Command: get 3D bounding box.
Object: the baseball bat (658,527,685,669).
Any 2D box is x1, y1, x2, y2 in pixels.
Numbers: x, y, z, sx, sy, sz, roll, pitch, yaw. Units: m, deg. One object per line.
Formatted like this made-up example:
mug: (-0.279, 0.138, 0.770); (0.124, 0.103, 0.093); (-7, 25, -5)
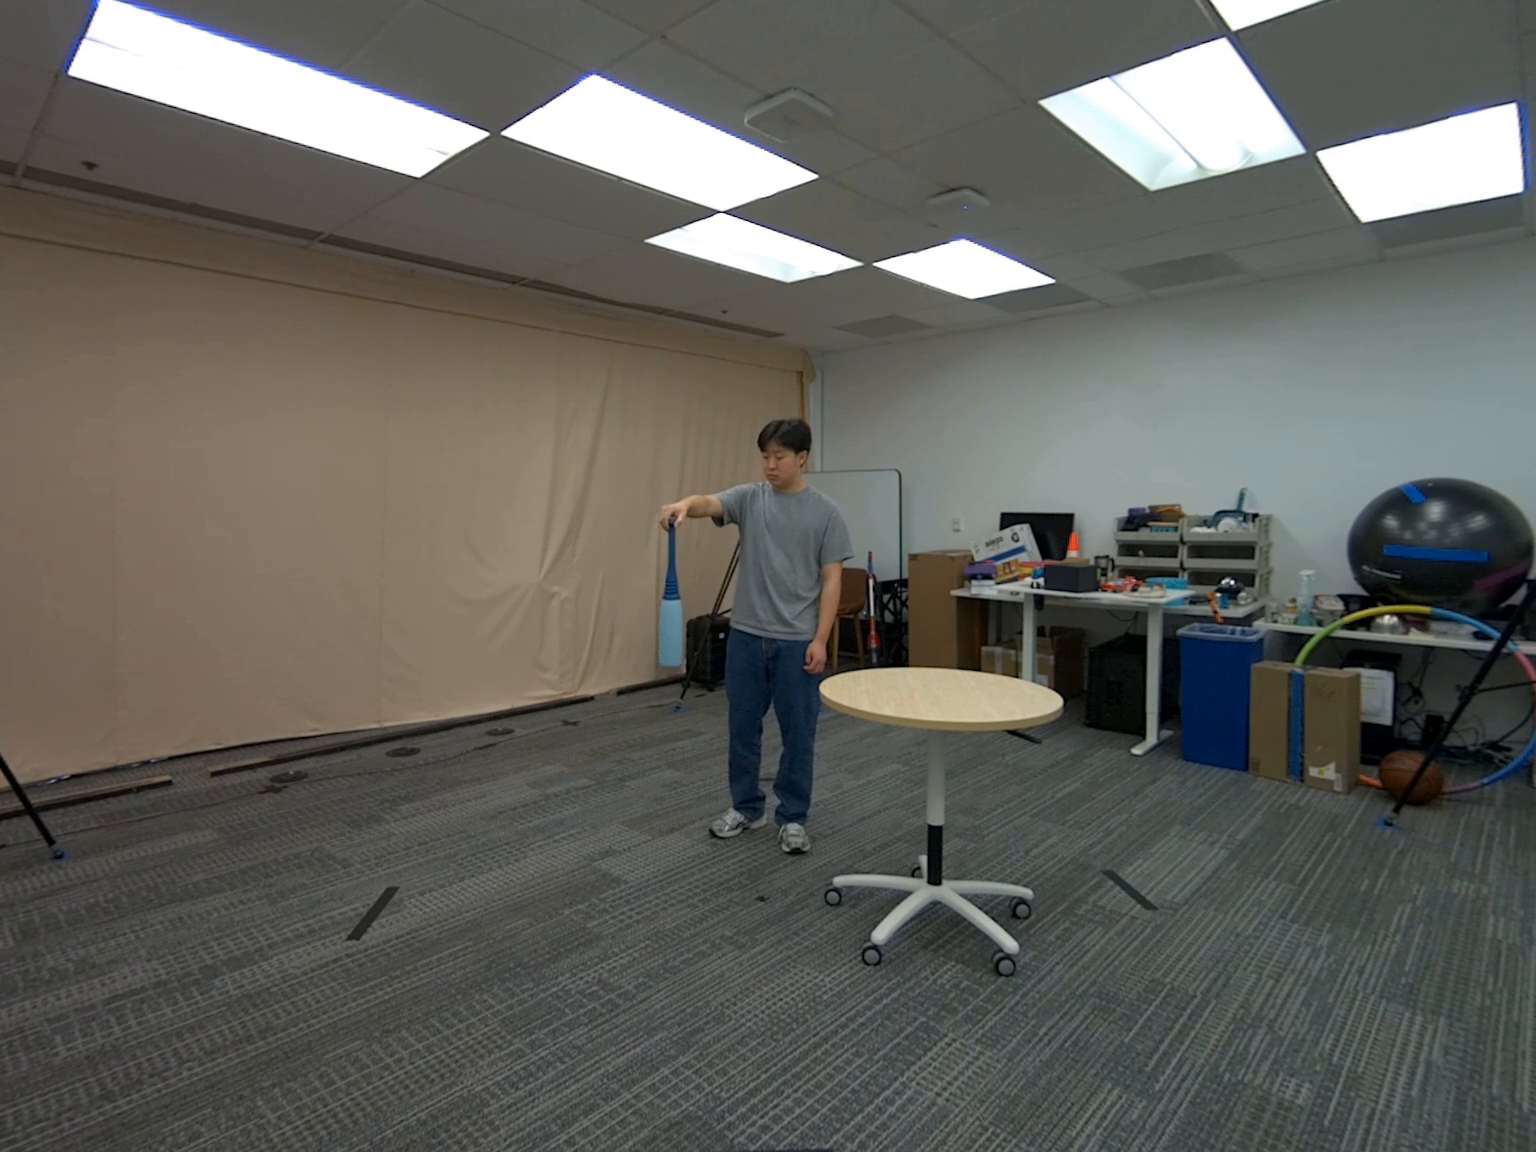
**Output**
baseball bat: (-0.351, 0.069, 3.063); (0.089, 0.541, 0.089); (-2, 4, -2)
